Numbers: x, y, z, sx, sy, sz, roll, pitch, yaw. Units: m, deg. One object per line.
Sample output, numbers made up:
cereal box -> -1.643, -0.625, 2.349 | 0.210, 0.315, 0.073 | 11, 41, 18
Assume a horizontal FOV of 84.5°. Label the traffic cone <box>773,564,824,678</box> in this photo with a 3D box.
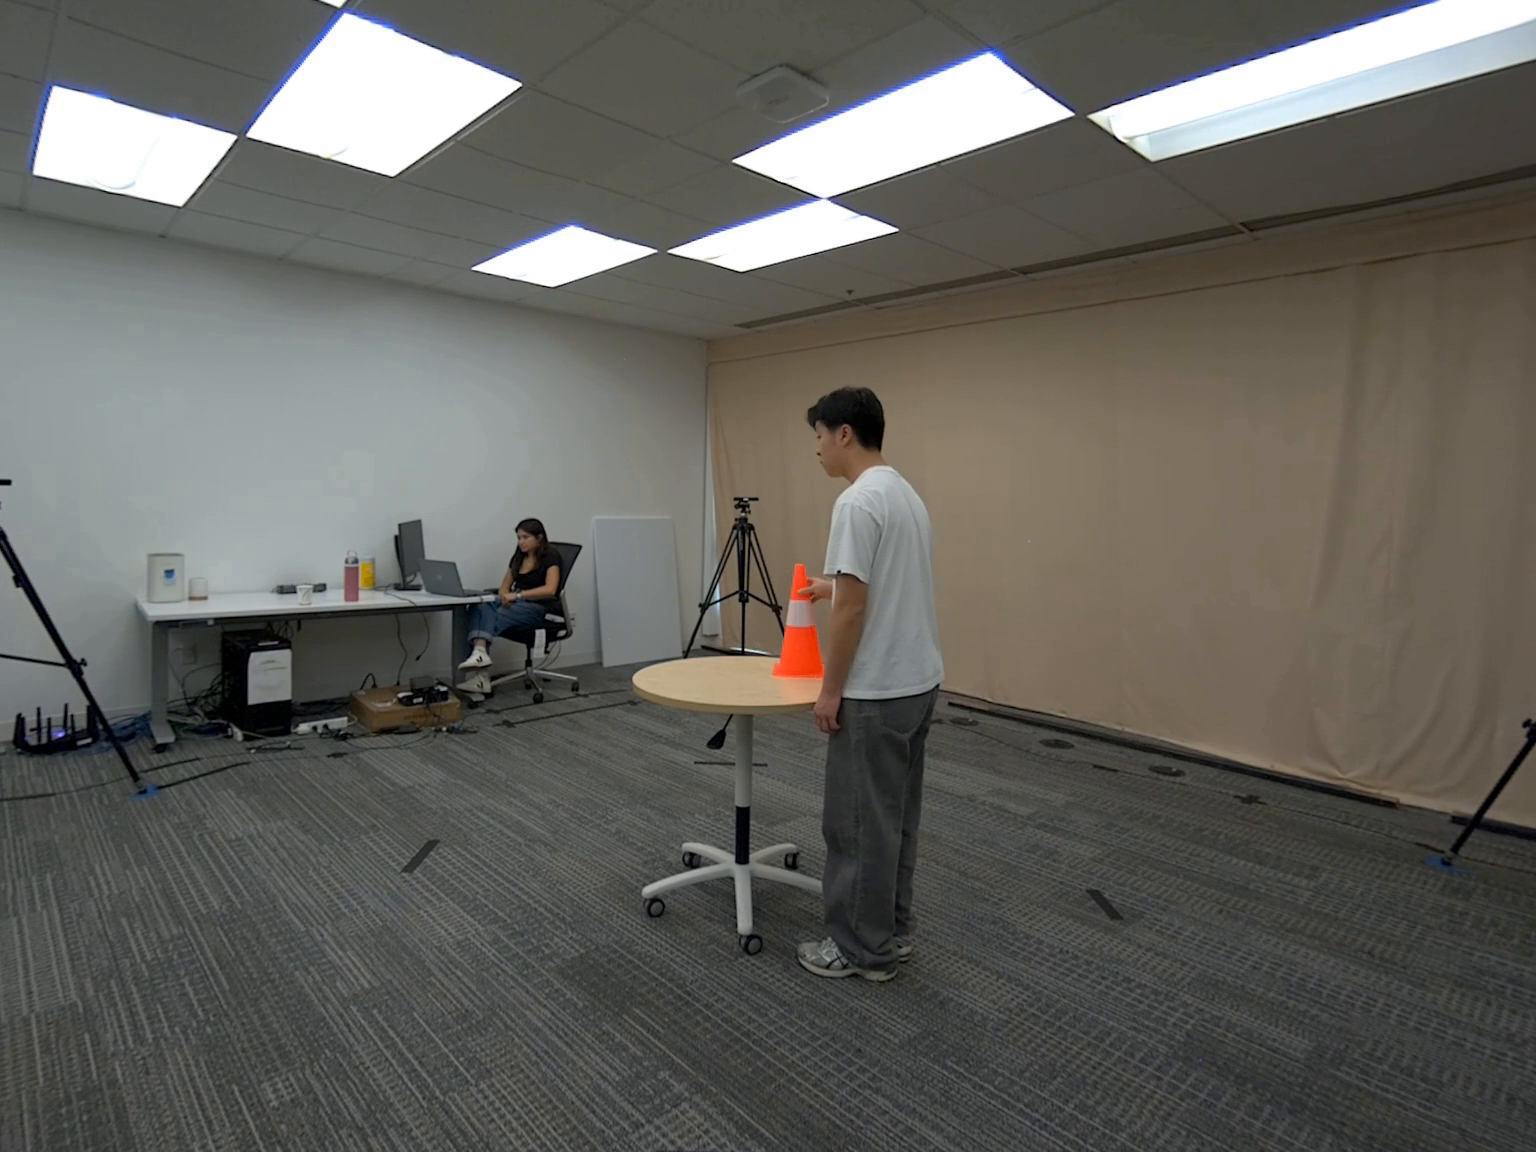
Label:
traffic cone -> 0.106, 0.148, 2.972 | 0.204, 0.383, 0.204 | 2, 3, 6
